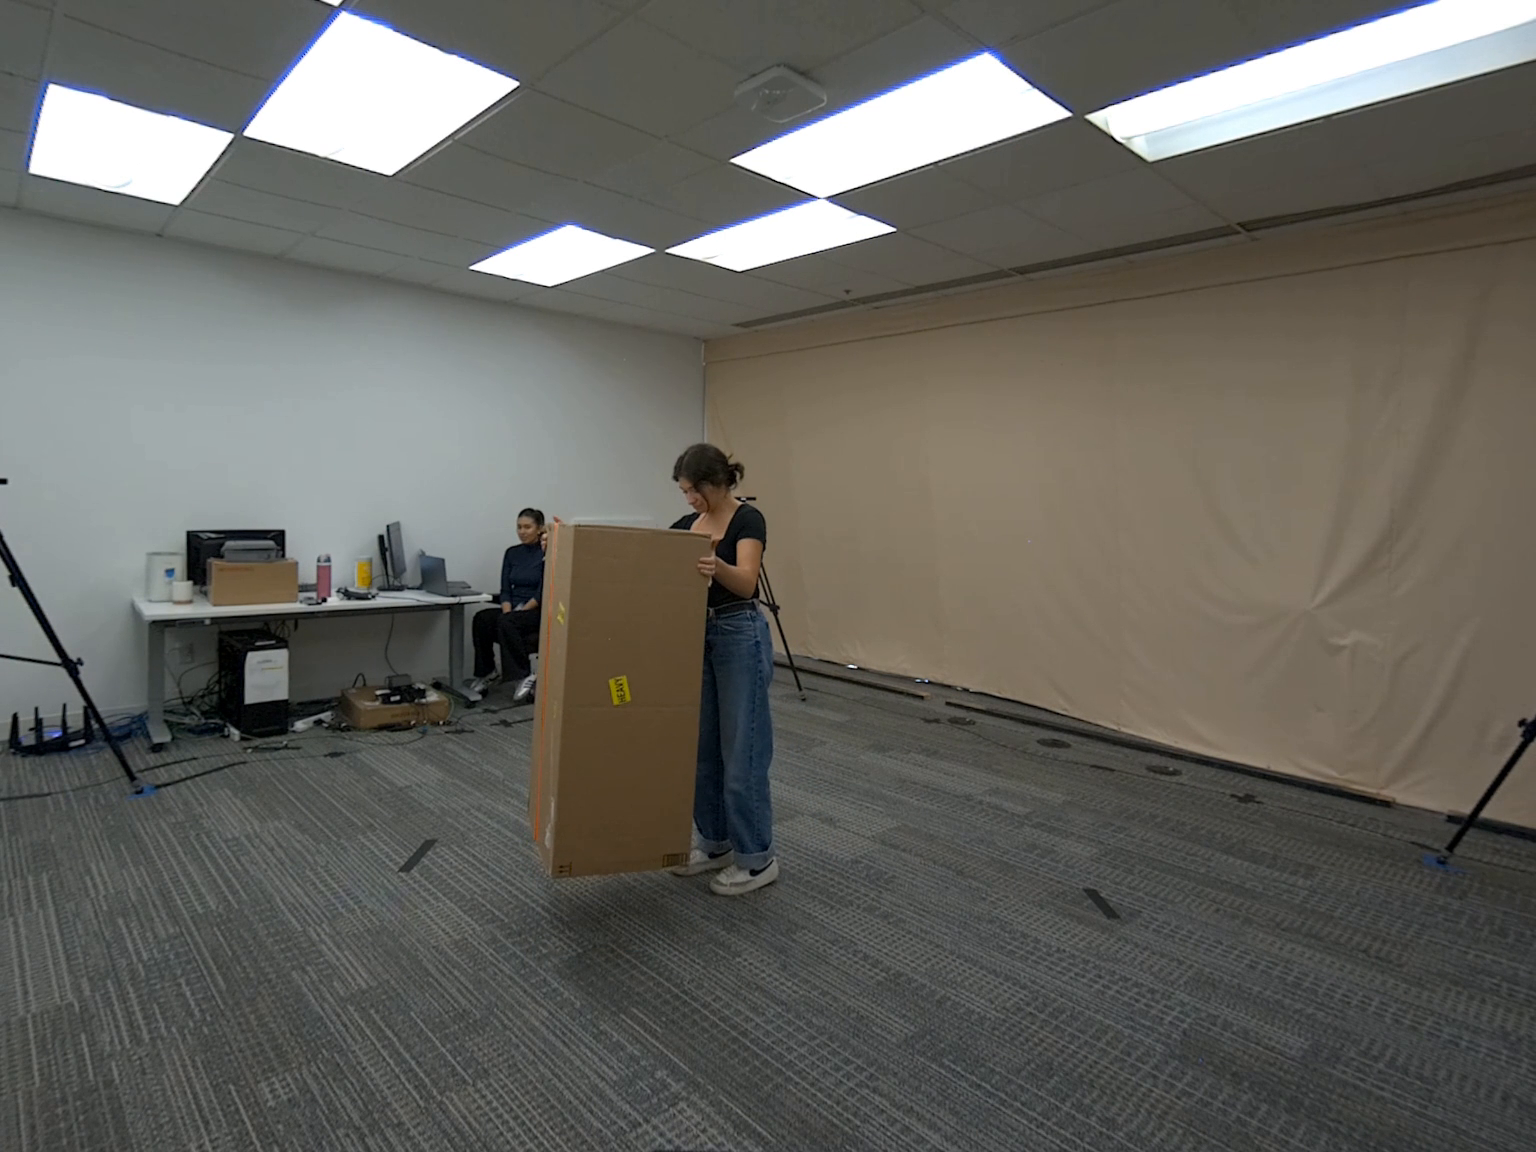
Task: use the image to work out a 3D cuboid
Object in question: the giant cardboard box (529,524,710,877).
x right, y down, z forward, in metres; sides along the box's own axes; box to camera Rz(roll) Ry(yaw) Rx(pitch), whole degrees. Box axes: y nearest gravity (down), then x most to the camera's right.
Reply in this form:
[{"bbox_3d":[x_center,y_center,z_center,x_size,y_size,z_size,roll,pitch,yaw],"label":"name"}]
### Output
[{"bbox_3d":[-0.517,0.364,2.738,0.419,1.025,0.588,4,1,-22],"label":"giant cardboard box"}]
